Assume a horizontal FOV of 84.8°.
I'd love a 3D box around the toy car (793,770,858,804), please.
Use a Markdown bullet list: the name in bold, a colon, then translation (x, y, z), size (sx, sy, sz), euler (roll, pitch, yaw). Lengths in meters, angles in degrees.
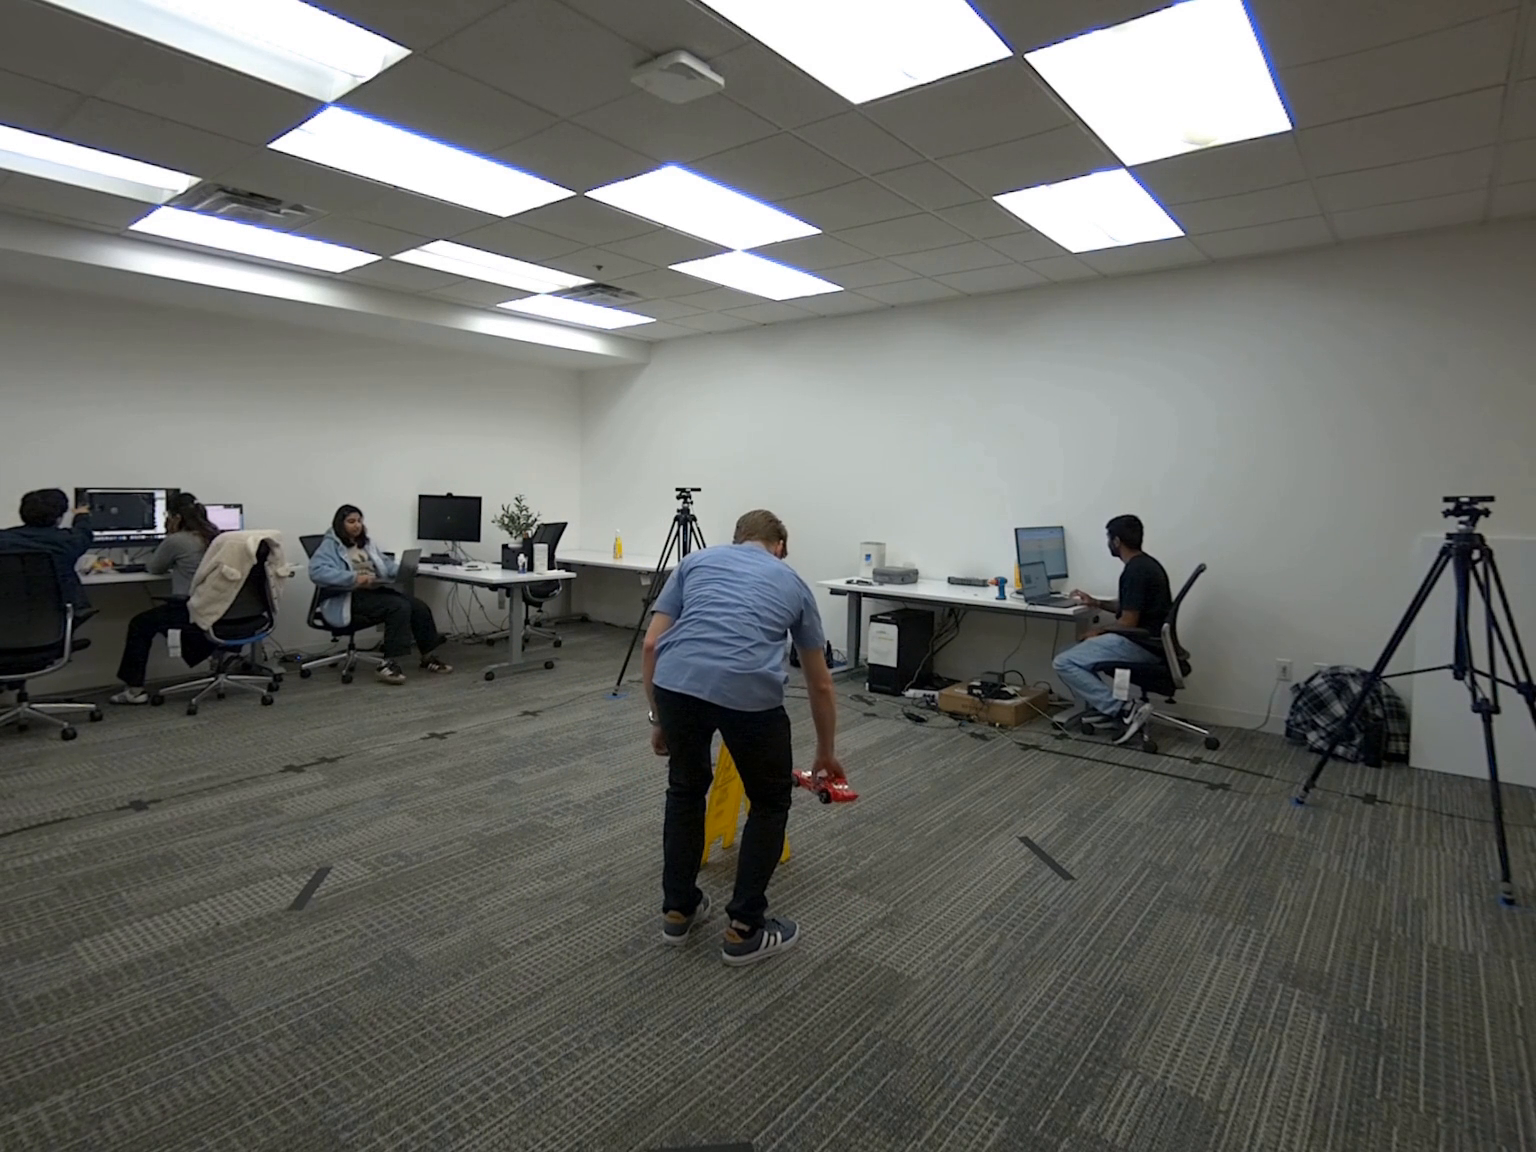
- **toy car**: translation (0.192, 0.740, 2.898), size (0.125, 0.083, 0.263), euler (11, -6, -42)
